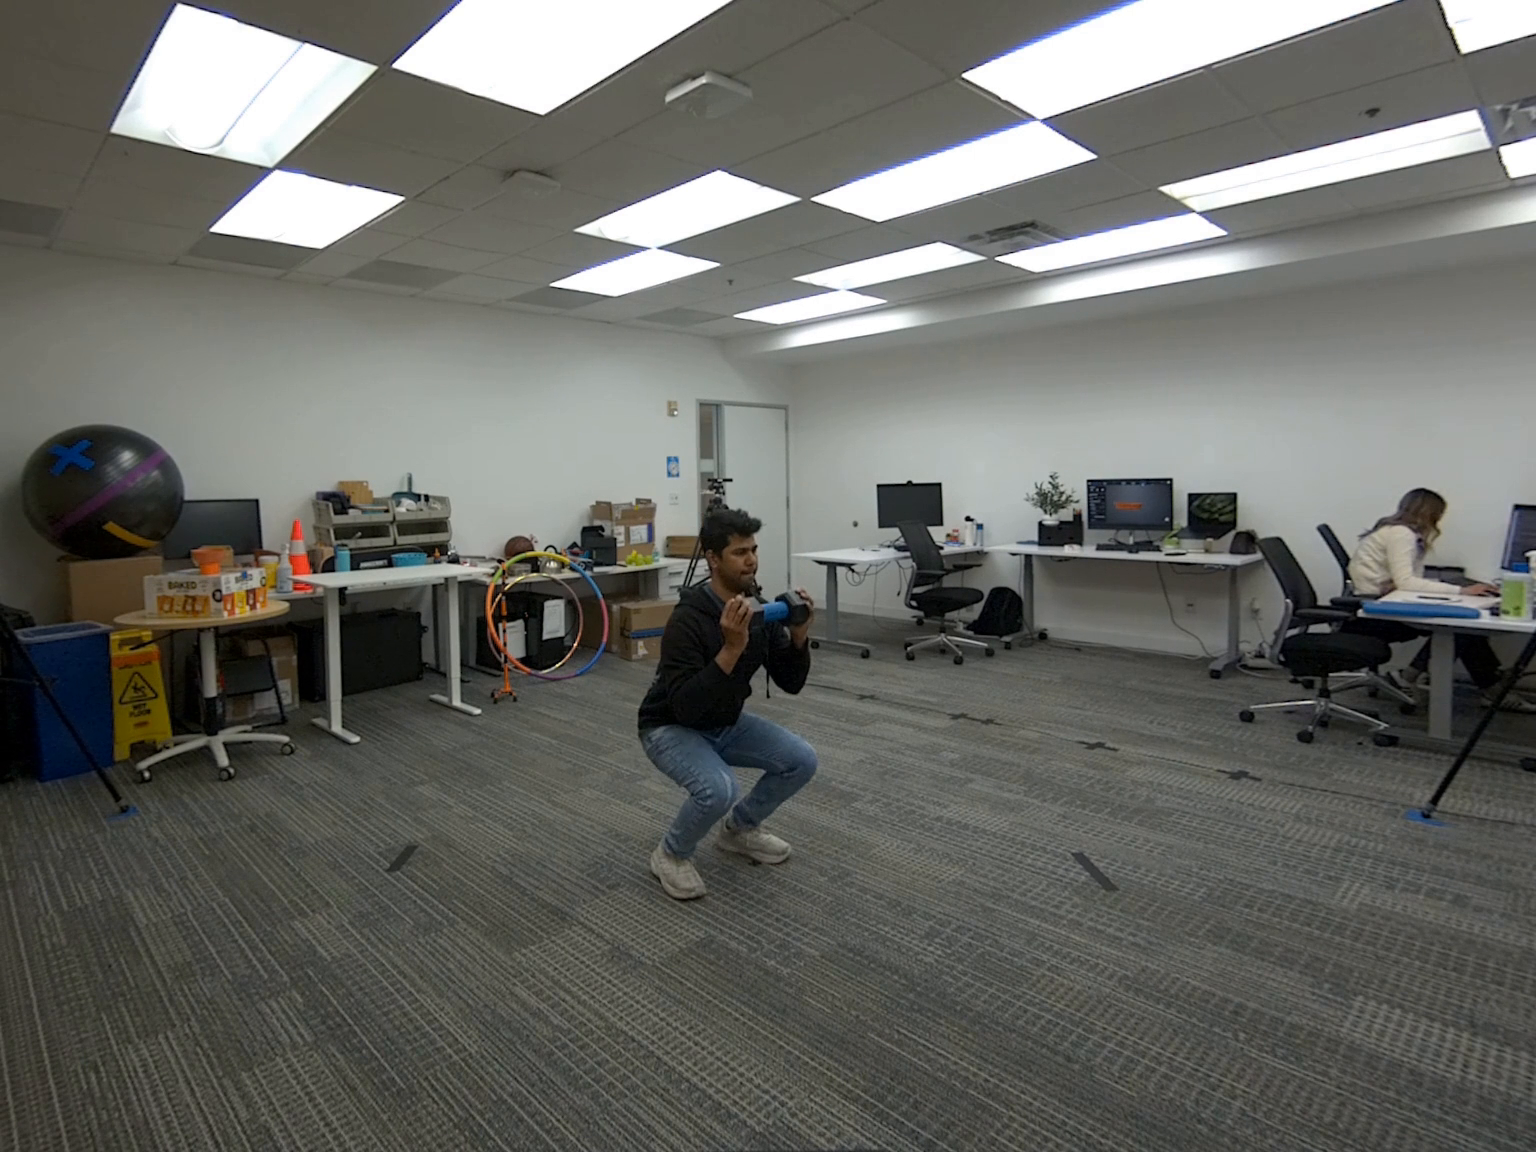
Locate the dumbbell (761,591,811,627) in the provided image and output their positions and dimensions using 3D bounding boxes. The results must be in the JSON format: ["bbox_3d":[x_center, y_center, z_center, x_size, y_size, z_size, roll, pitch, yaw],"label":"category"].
[{"bbox_3d":[-0.003,0.116,2.827,0.286,0.122,0.112,-6,15,-42],"label":"dumbbell"}]
